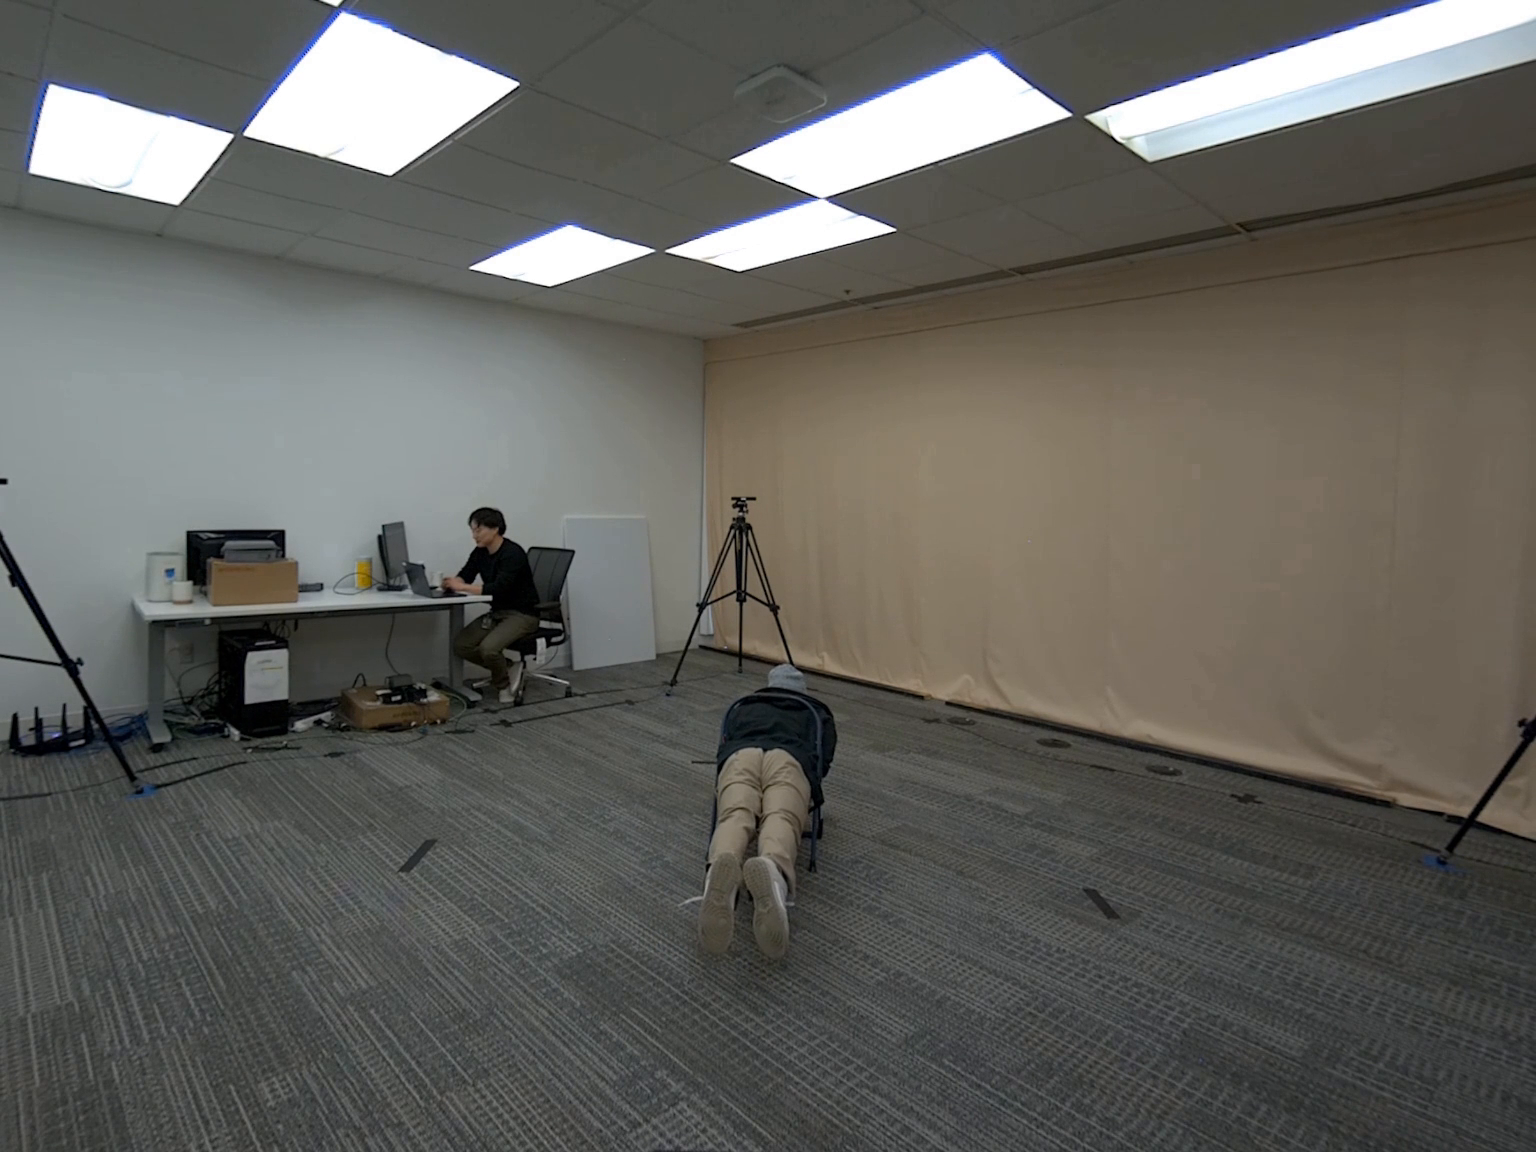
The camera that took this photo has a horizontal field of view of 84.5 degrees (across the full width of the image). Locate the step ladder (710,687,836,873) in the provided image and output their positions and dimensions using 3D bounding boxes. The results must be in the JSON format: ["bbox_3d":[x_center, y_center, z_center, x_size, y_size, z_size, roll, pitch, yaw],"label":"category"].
[{"bbox_3d":[-0.003,0.790,3.353,0.434,0.605,0.347,2,2,9],"label":"step ladder"}]
